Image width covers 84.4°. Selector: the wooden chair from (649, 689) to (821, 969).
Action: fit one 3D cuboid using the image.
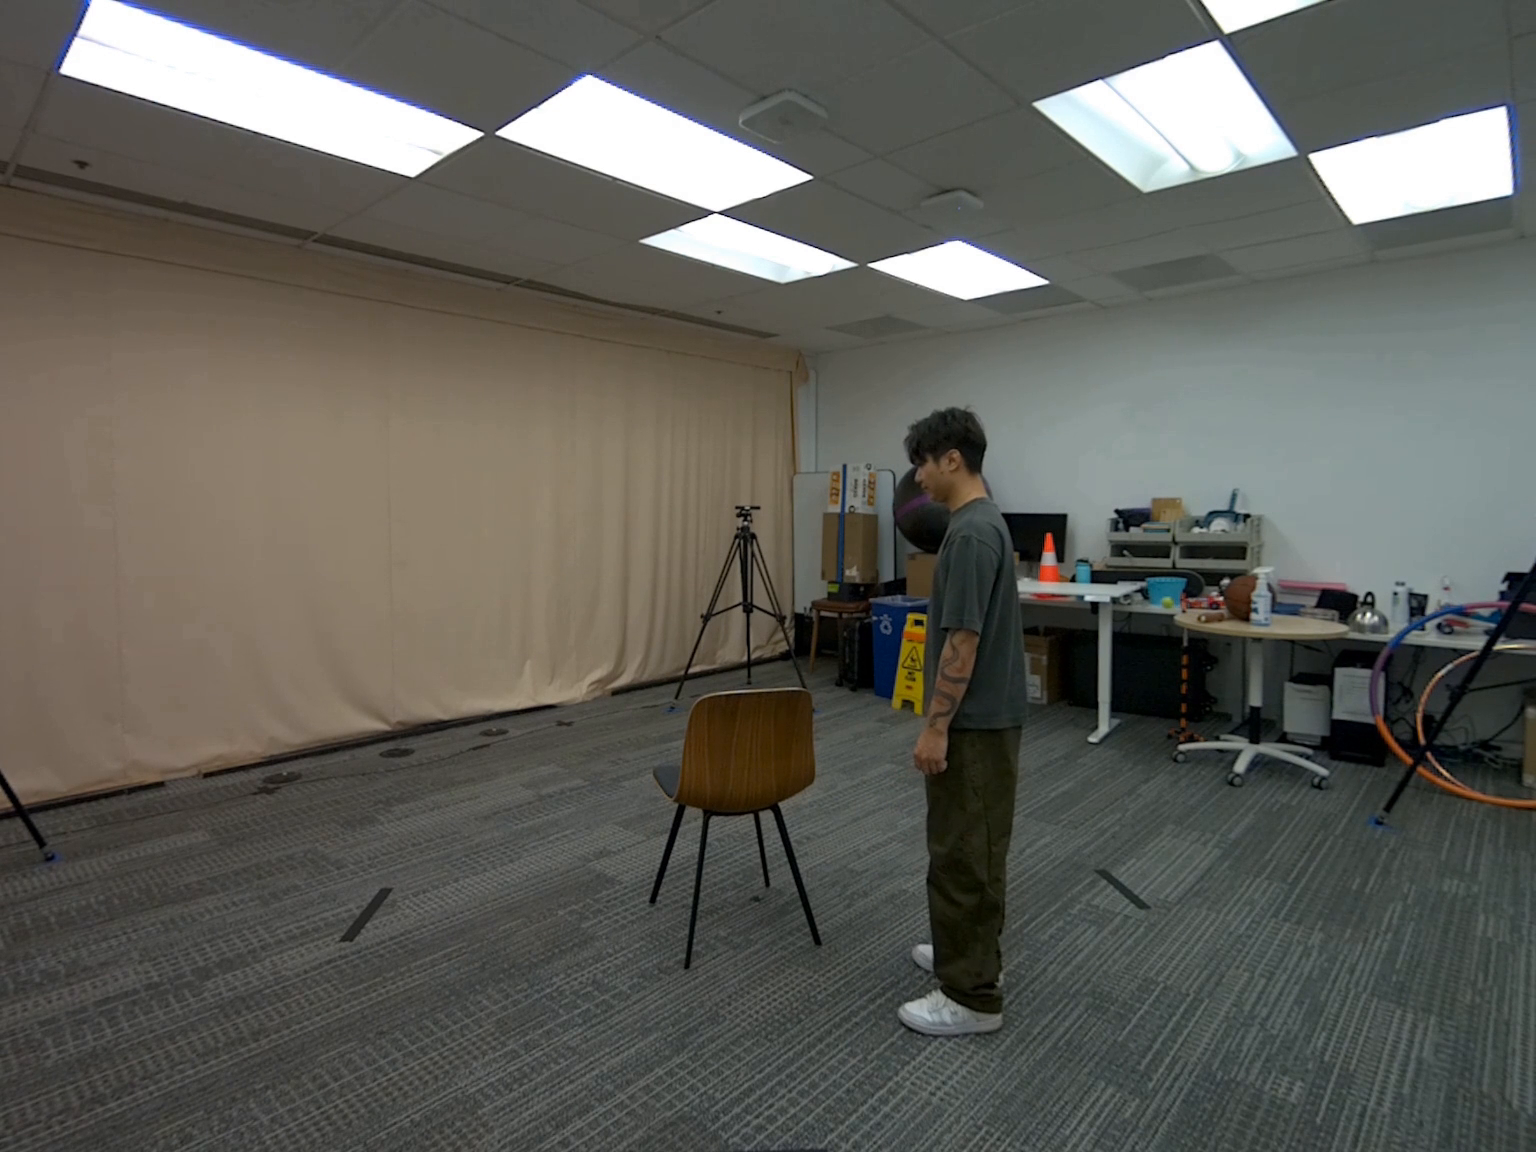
[{"bbox_3d":[-0.123,0.734,2.788,0.469,0.873,0.536,-2,8,-20],"label":"wooden chair"}]
